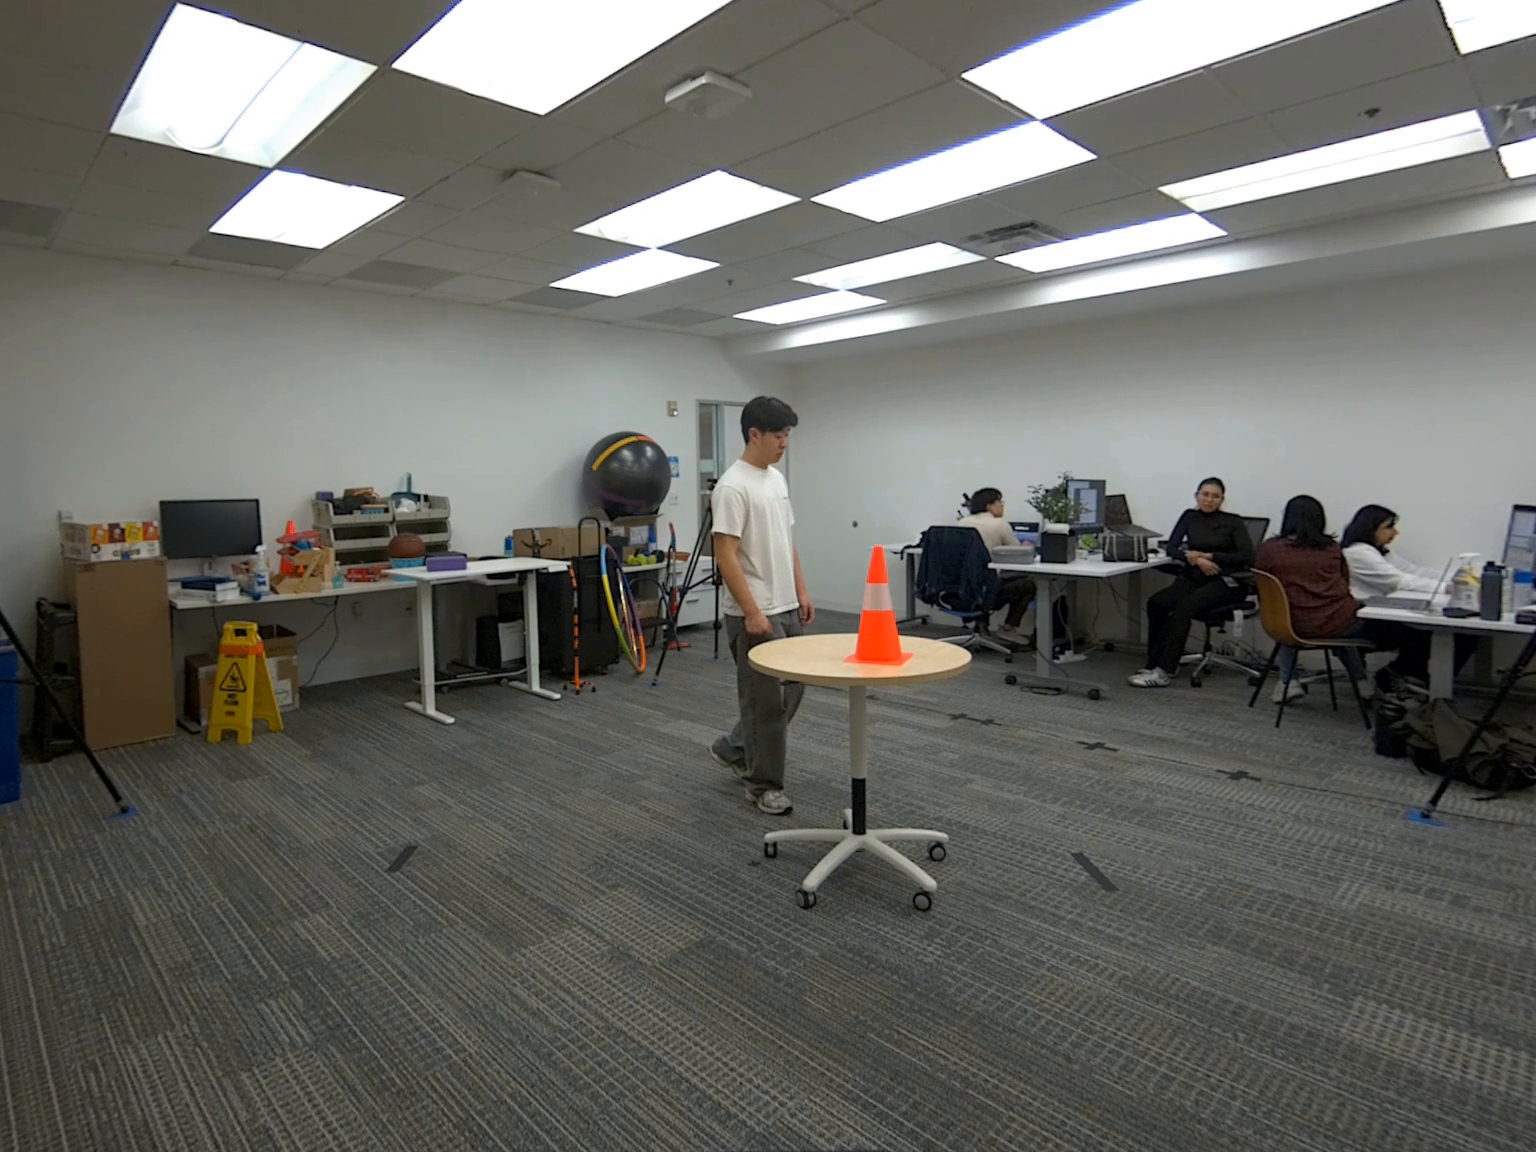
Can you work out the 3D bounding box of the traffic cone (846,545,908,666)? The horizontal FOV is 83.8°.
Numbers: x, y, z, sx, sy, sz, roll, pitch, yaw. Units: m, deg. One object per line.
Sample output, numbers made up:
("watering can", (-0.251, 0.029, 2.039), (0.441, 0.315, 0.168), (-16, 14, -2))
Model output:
("traffic cone", (0.371, 0.093, 2.884), (0.207, 0.383, 0.201), (-1, 3, 22))
